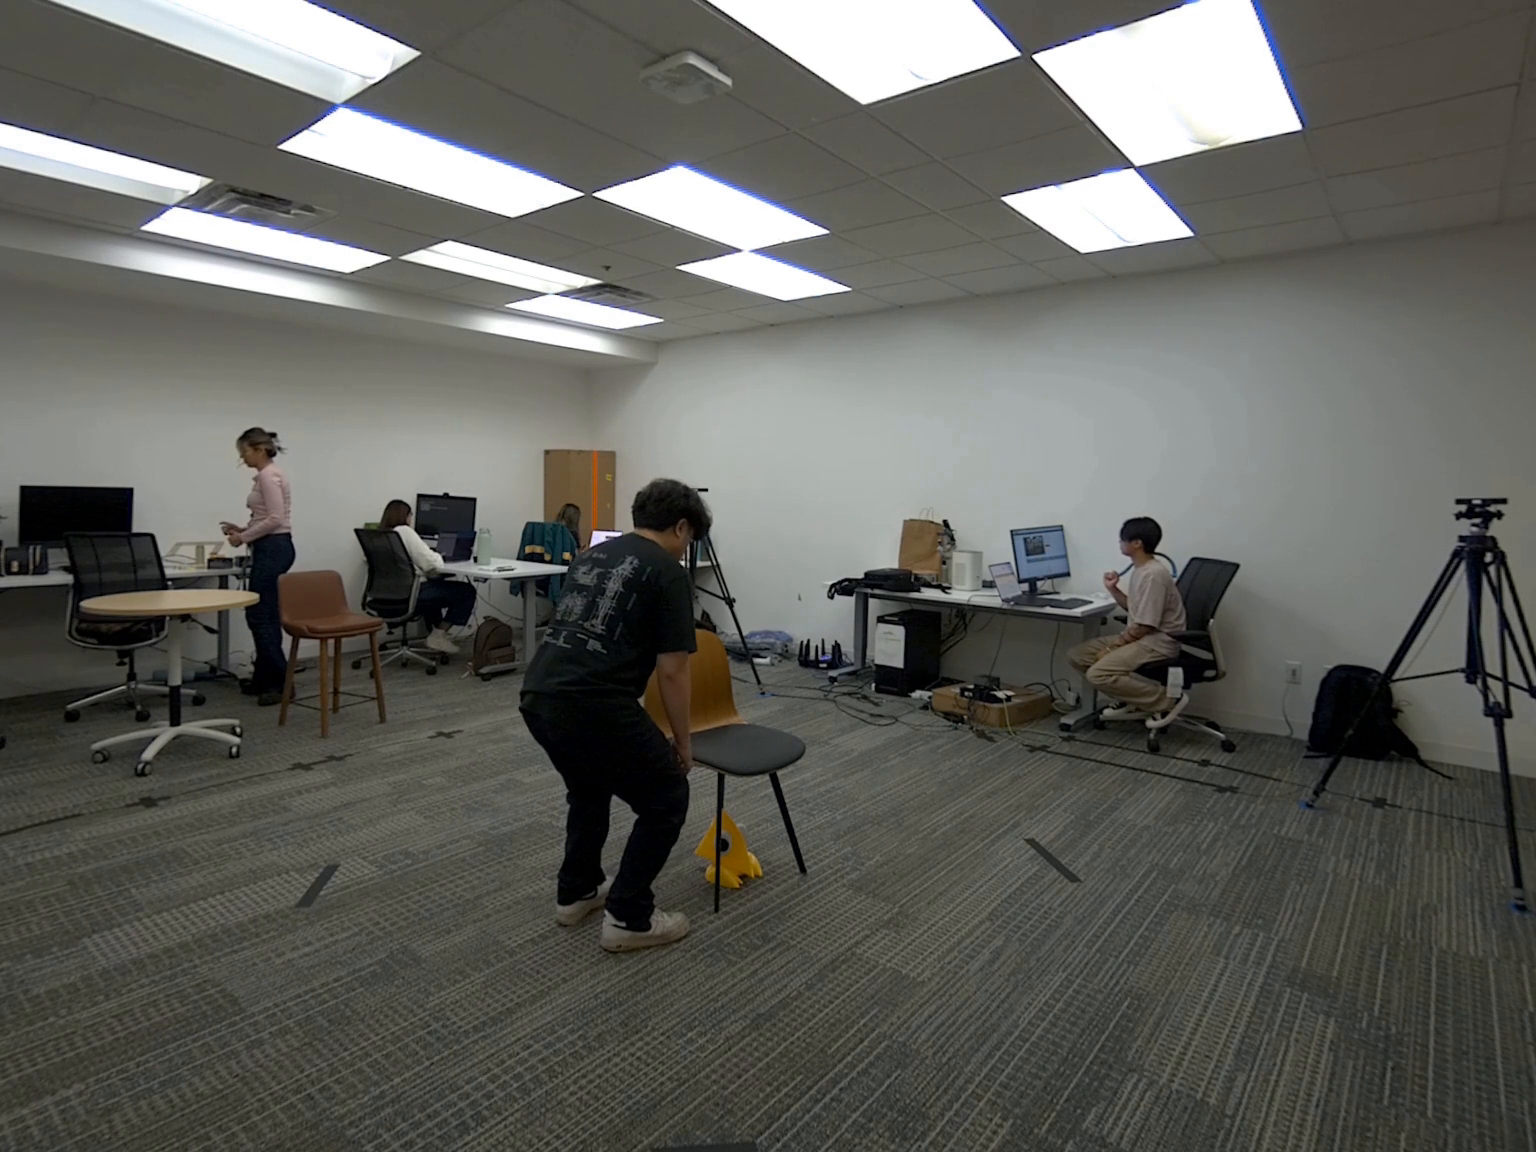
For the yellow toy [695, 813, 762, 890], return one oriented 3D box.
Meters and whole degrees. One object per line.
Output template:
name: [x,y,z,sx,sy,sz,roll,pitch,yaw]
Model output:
yellow toy: [-0.136,0.964,3.071,0.199,0.230,0.199,5,5,41]
